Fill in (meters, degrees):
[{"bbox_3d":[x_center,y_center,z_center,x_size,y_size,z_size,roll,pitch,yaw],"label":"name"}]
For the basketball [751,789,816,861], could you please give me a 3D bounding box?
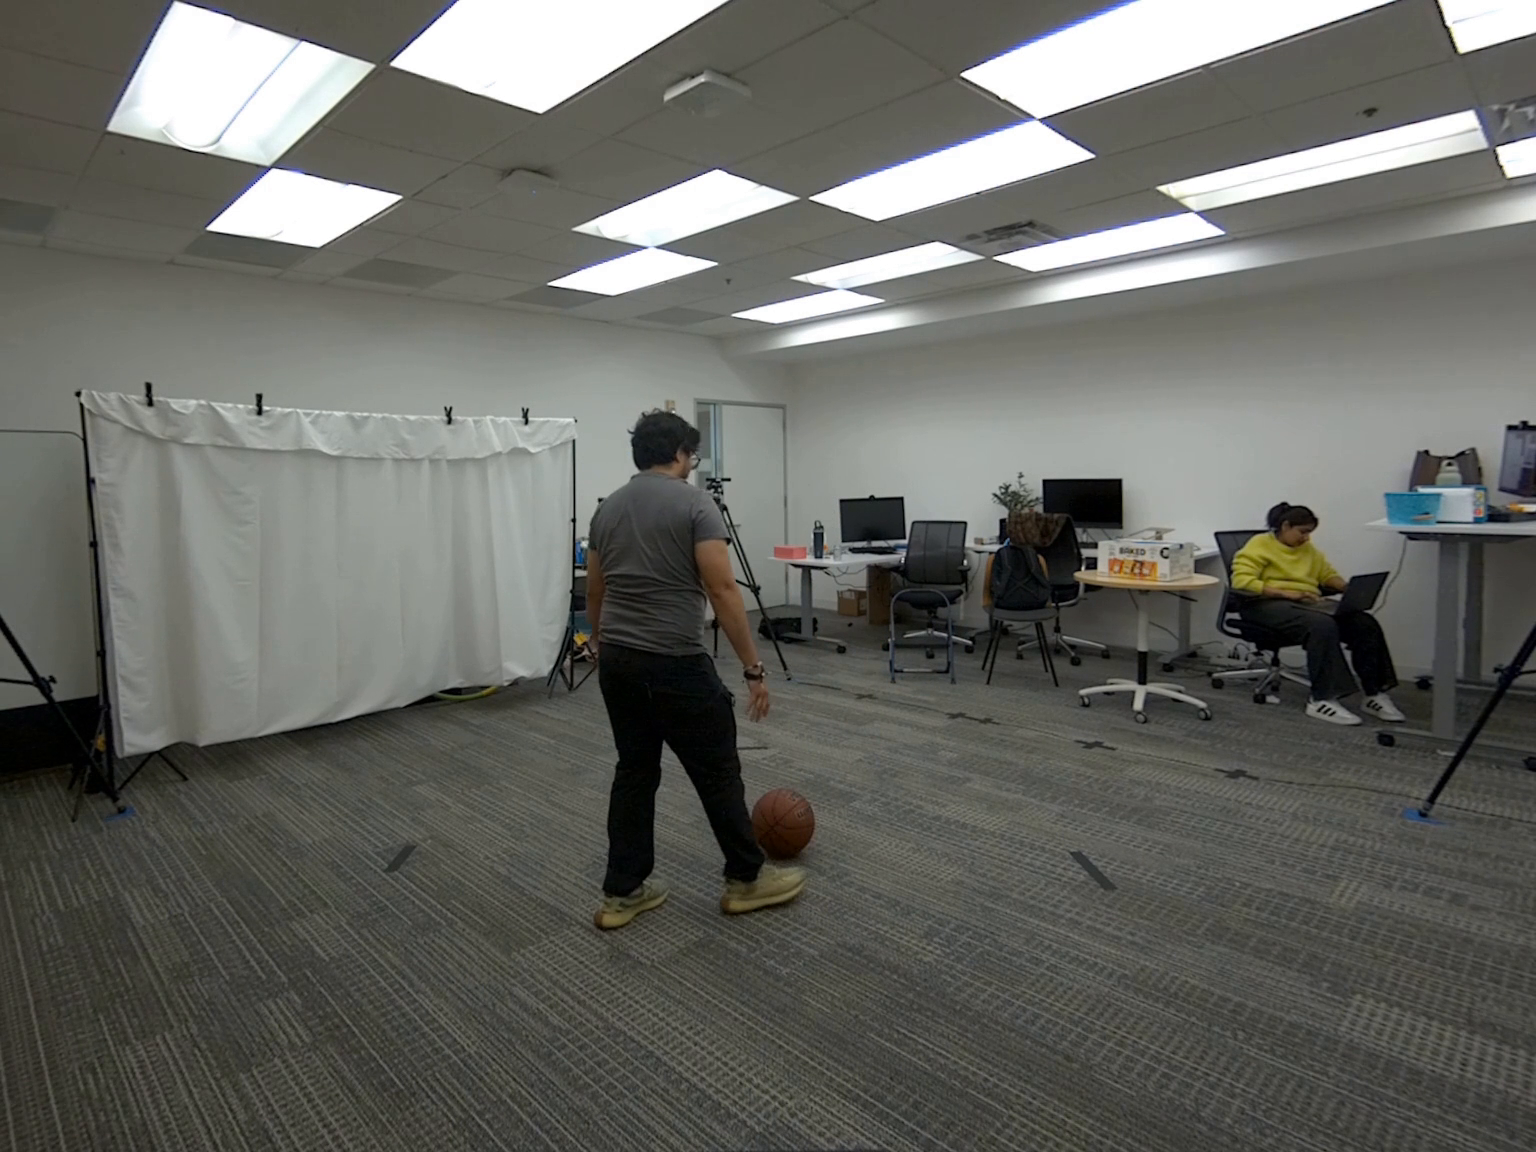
[{"bbox_3d":[0.056,0.911,3.179,0.236,0.235,0.237,-1,5,-2],"label":"basketball"}]
